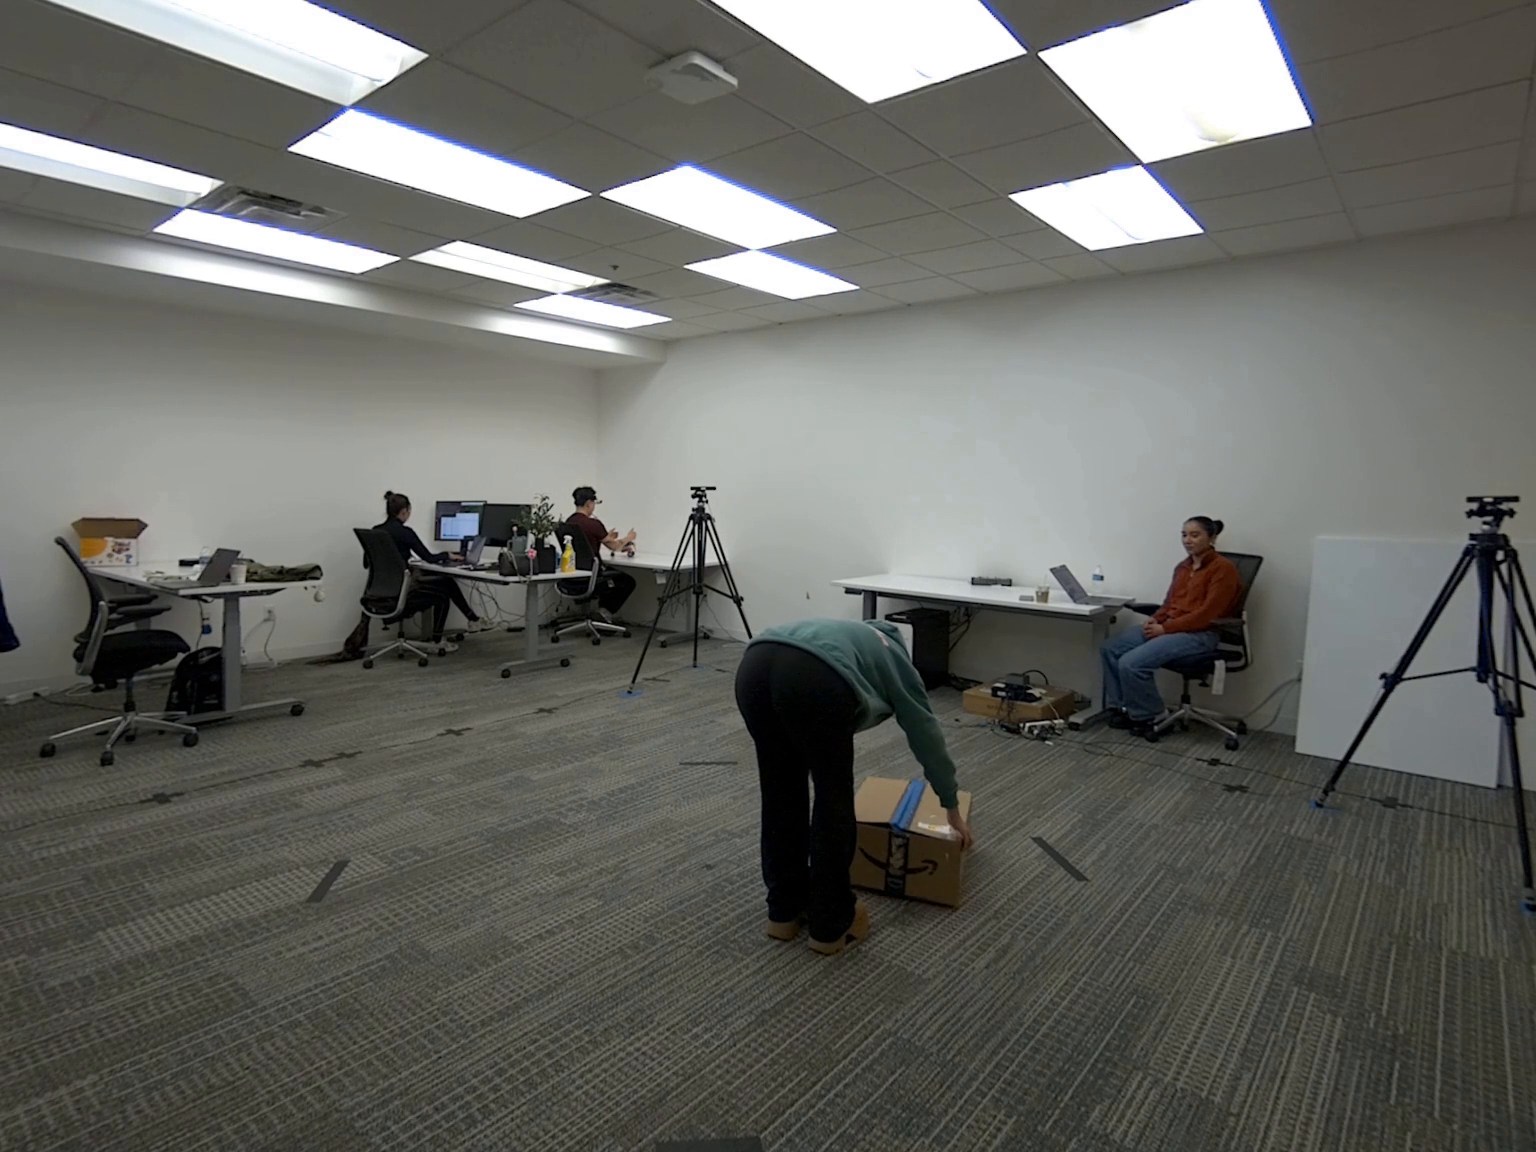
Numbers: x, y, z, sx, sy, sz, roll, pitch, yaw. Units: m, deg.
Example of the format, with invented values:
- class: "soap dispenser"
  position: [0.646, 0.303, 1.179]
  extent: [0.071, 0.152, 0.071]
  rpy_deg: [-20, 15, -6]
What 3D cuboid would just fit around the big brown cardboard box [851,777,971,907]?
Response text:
- class: "big brown cardboard box"
  position: [0.507, 0.945, 3.147]
  extent: [0.426, 0.233, 0.578]
  rpy_deg: [4, 3, 17]
